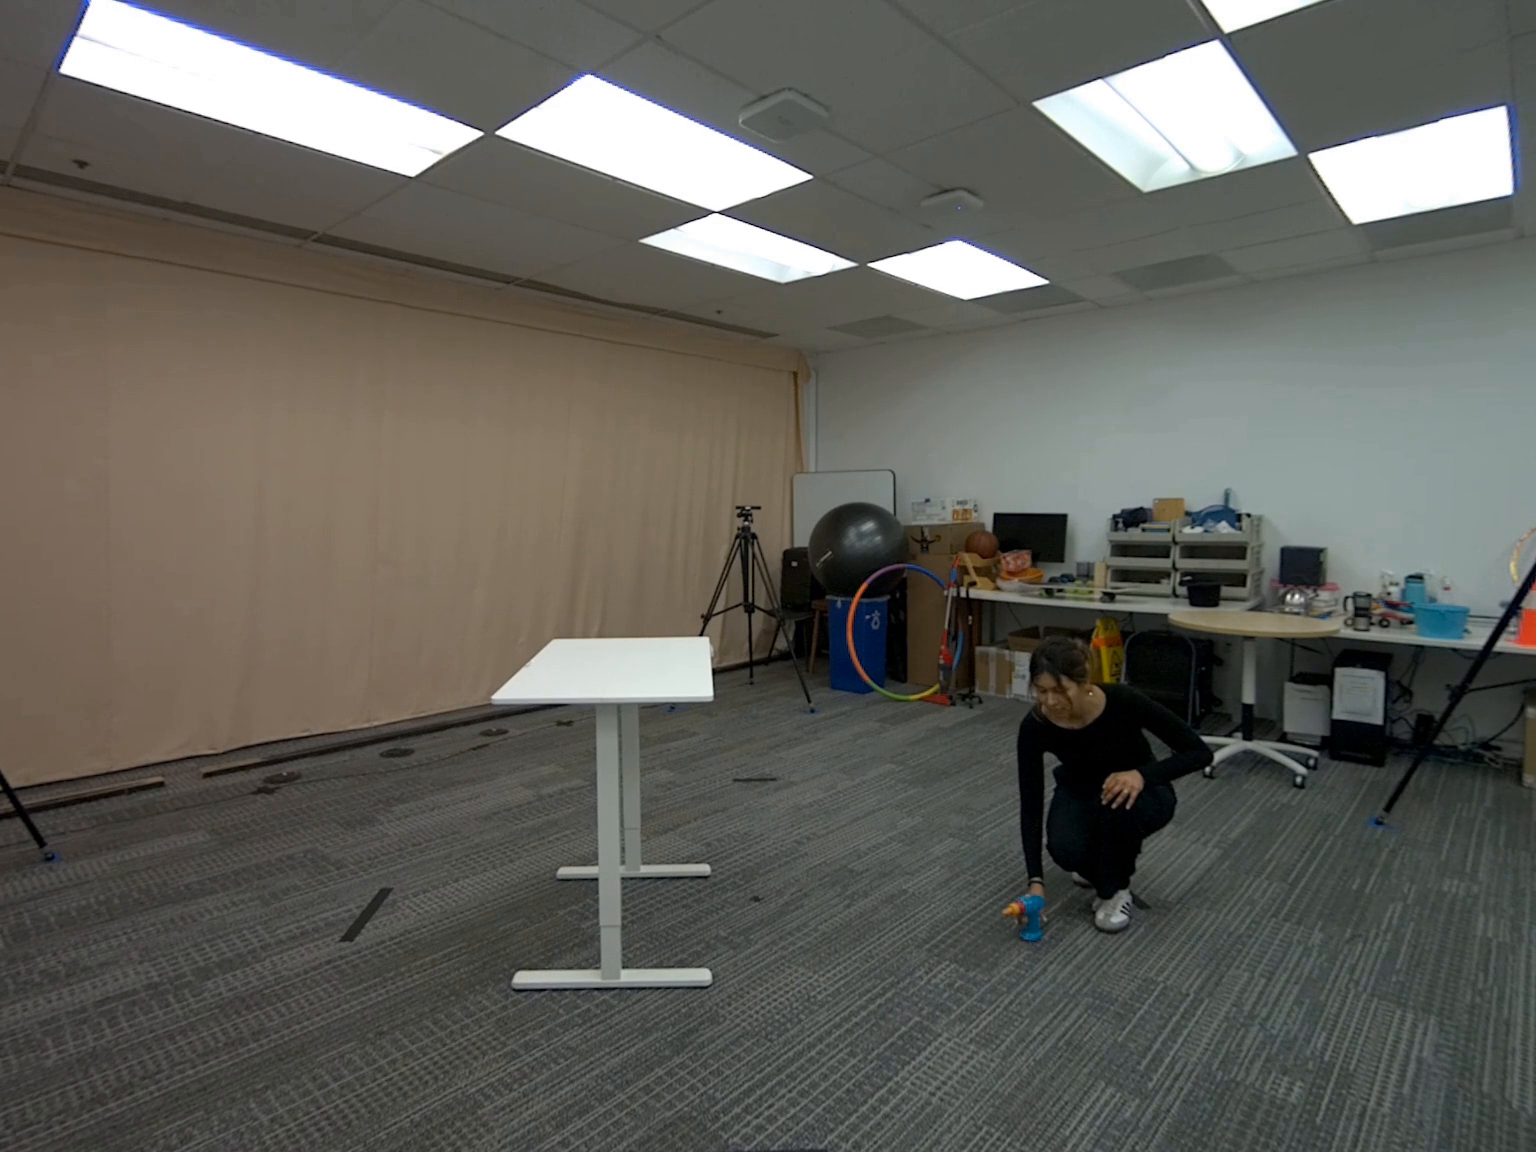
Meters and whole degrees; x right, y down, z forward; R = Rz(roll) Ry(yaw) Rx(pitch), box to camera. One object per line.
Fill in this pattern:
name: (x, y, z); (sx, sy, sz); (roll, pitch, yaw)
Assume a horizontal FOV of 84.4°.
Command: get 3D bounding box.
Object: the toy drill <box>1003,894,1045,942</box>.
toy drill: (0.829, 1.101, 2.686); (0.165, 0.145, 0.063); (-4, 7, -30)
